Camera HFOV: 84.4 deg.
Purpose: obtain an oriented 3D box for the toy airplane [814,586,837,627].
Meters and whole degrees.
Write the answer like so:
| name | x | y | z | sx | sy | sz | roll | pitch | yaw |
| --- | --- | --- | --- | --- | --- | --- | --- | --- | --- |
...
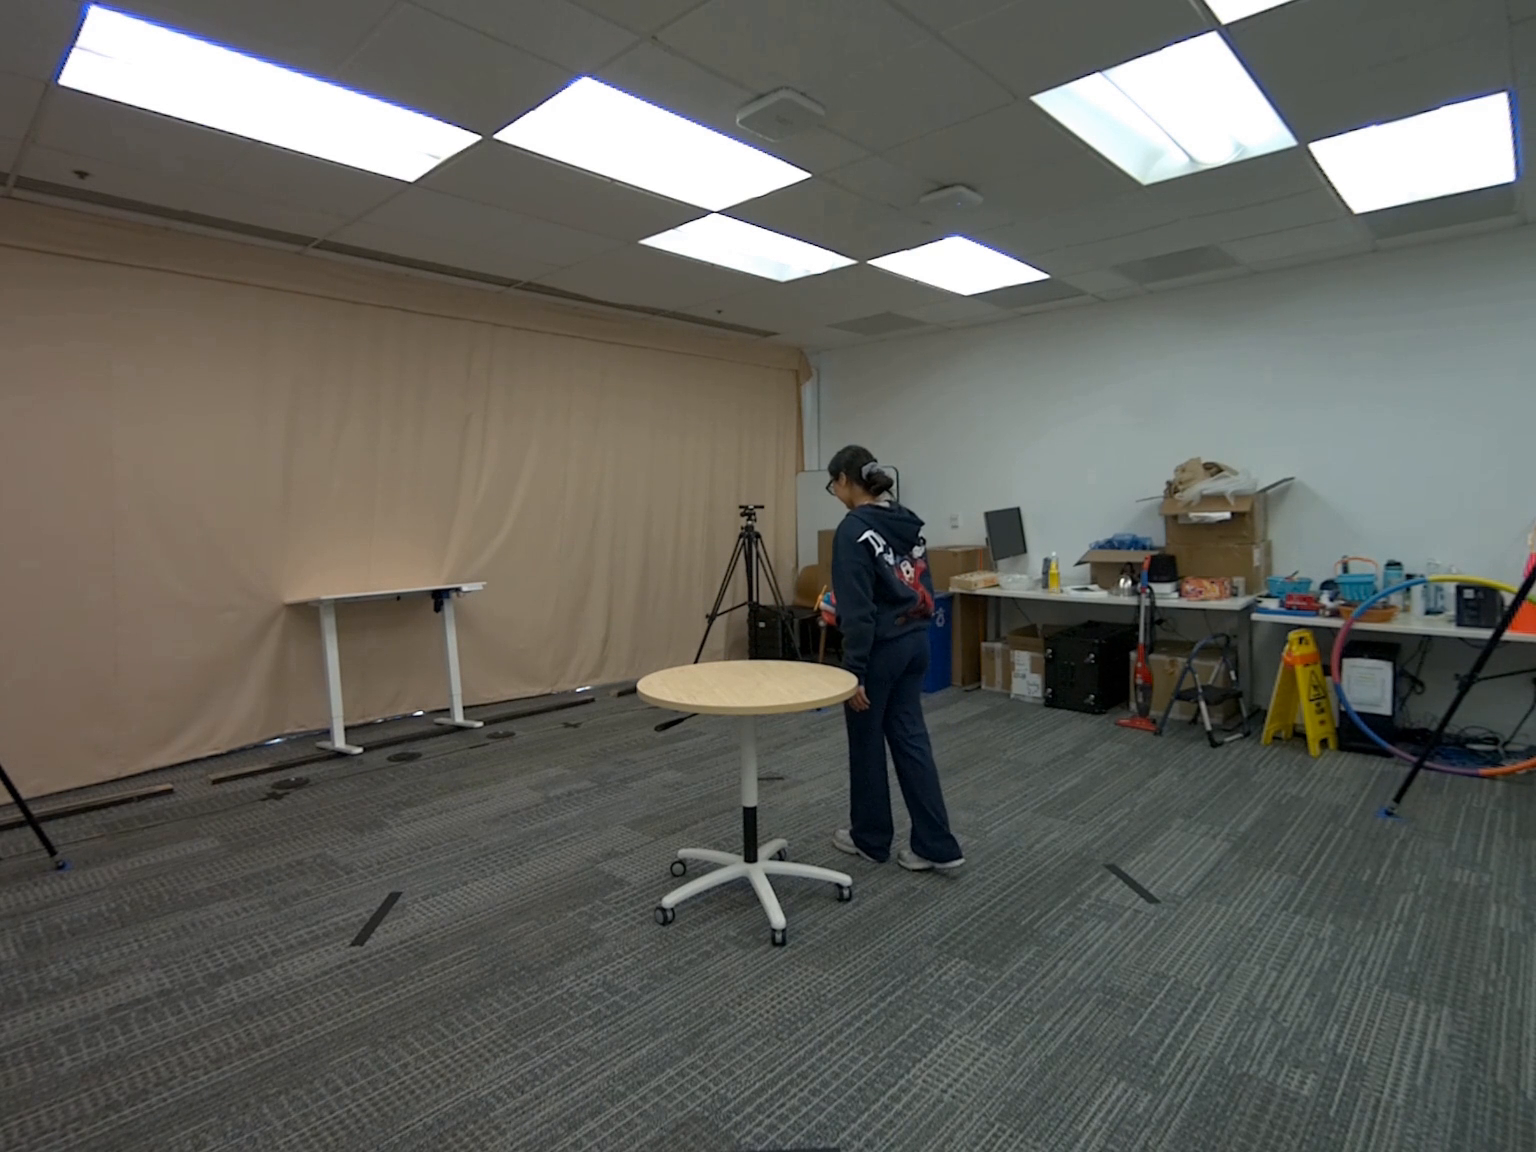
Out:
| name | x | y | z | sx | sy | sz | roll | pitch | yaw |
| --- | --- | --- | --- | --- | --- | --- | --- | --- | --- |
| toy airplane | 0.342 | 0.154 | 3.593 | 0.254 | 0.155 | 0.257 | 4 | 14 | -18 |
